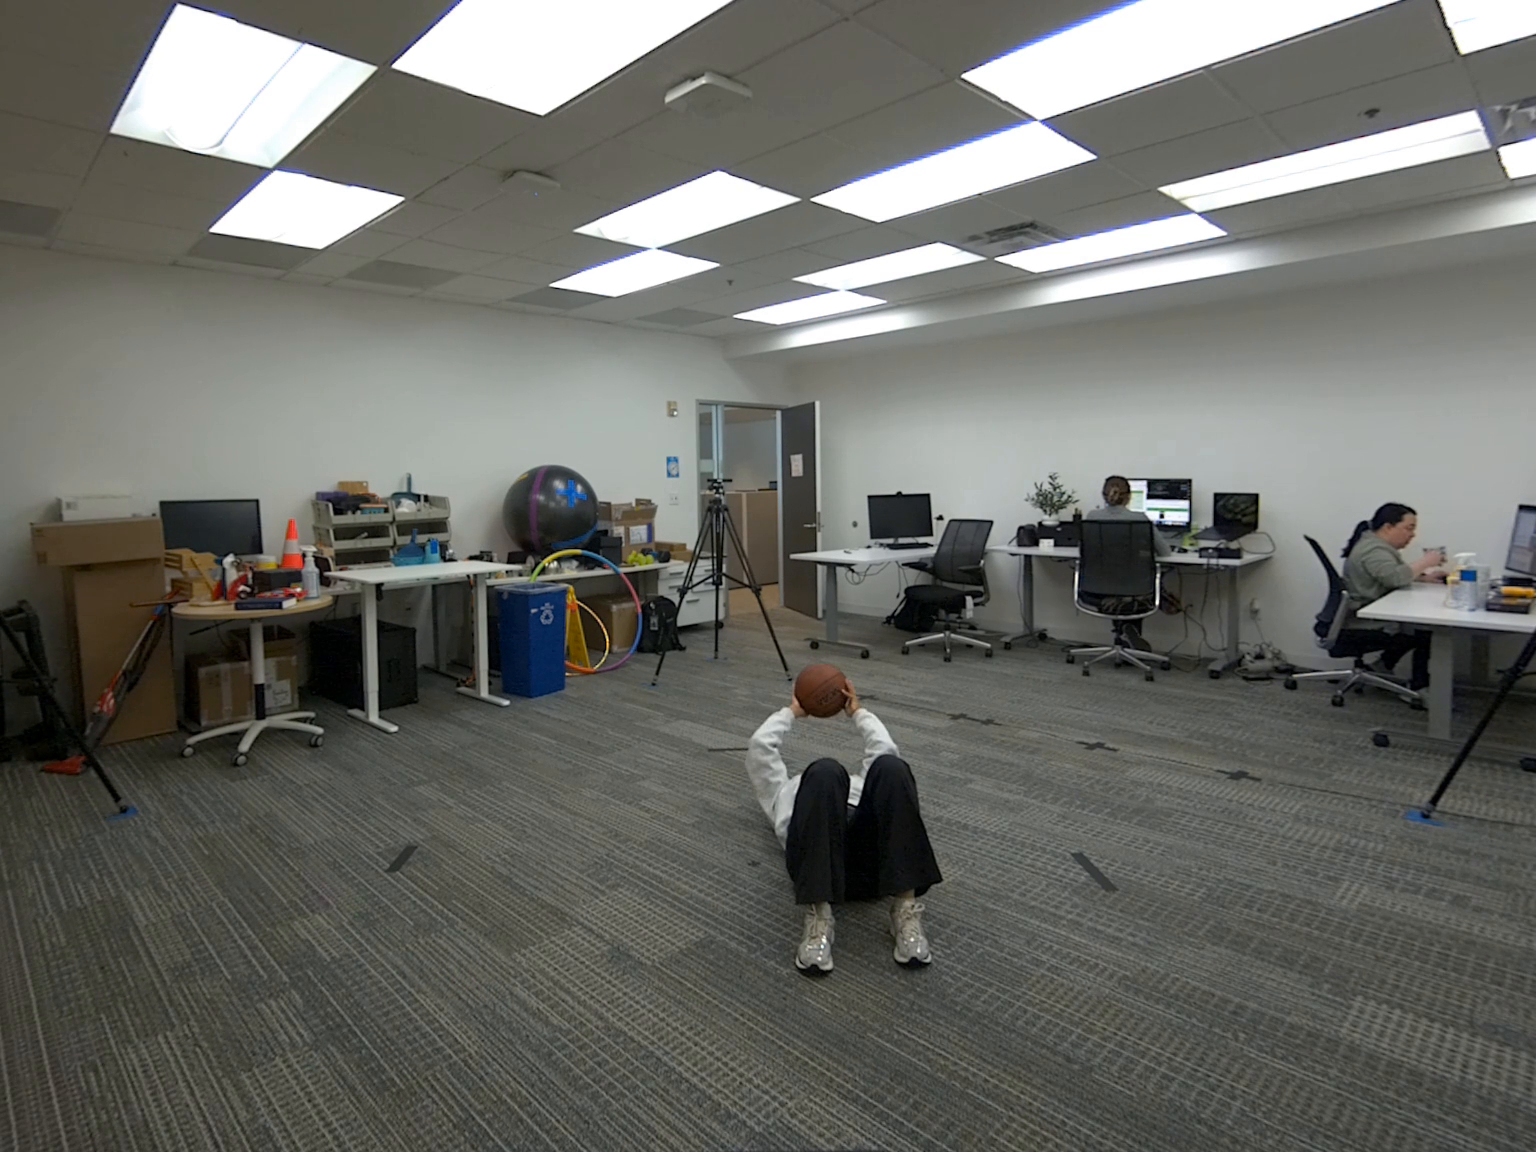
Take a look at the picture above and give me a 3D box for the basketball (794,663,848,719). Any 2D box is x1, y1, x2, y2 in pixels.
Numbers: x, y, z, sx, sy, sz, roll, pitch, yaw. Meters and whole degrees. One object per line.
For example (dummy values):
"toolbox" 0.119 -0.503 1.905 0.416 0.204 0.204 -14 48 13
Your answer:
"basketball" 0.240 0.505 3.717 0.236 0.235 0.237 -1 5 -2
